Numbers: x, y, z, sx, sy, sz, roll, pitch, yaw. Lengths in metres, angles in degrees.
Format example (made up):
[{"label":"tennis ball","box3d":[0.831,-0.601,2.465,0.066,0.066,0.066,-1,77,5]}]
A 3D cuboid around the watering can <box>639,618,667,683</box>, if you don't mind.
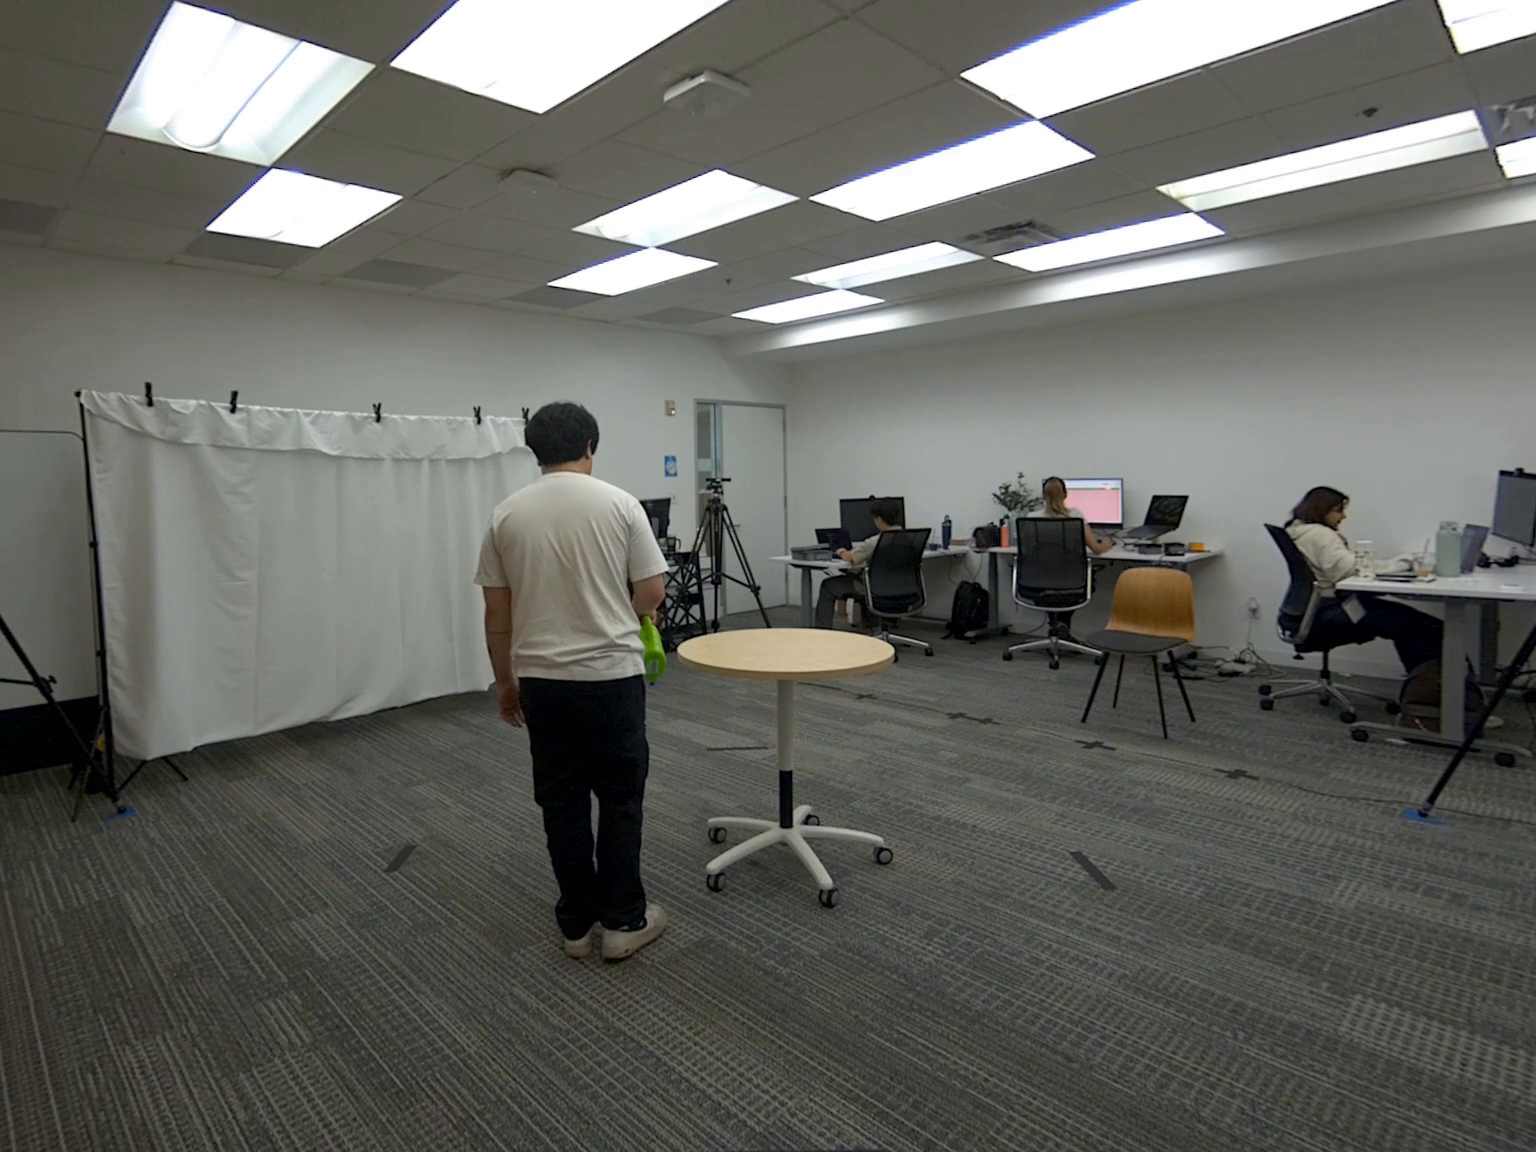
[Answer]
[{"label":"watering can","box3d":[-0.389,0.269,2.806,0.097,0.270,0.183,-11,41,-9]}]
